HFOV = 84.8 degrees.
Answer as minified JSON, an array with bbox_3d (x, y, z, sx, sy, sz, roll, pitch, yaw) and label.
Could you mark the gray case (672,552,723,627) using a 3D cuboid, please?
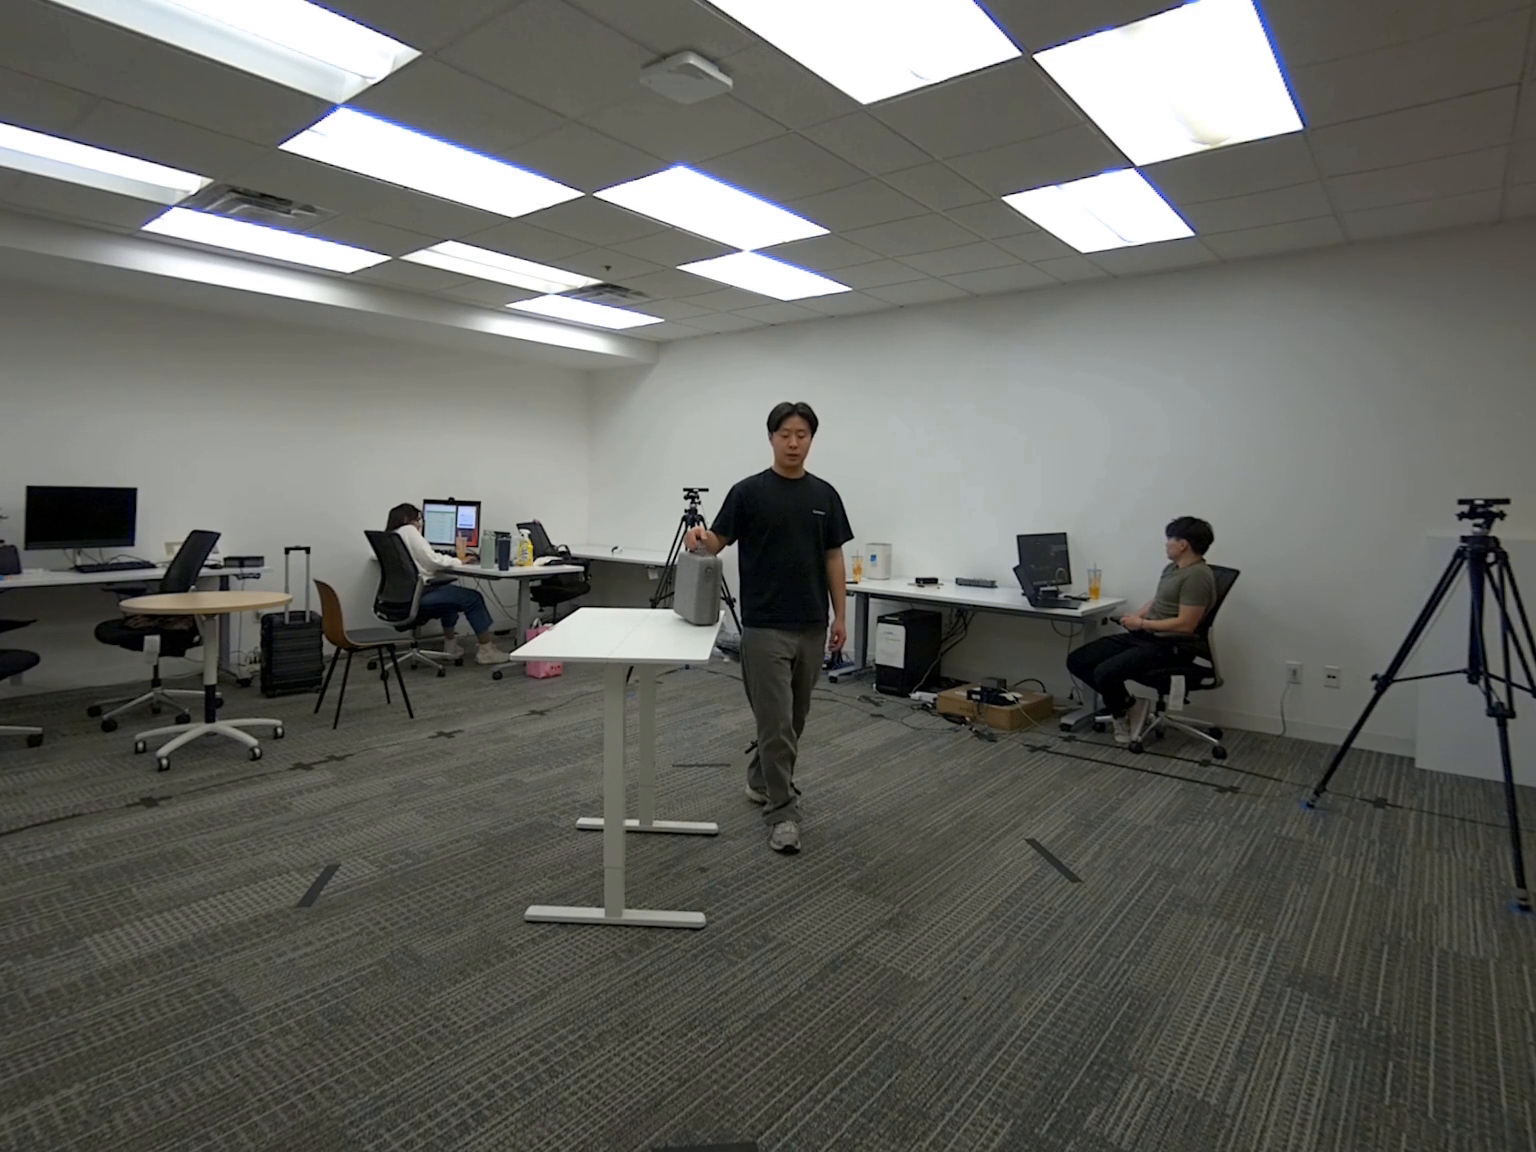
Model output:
[{"bbox_3d":[-0.275,0.025,3.212,0.101,0.286,0.270,1,6,-23],"label":"gray case"}]
